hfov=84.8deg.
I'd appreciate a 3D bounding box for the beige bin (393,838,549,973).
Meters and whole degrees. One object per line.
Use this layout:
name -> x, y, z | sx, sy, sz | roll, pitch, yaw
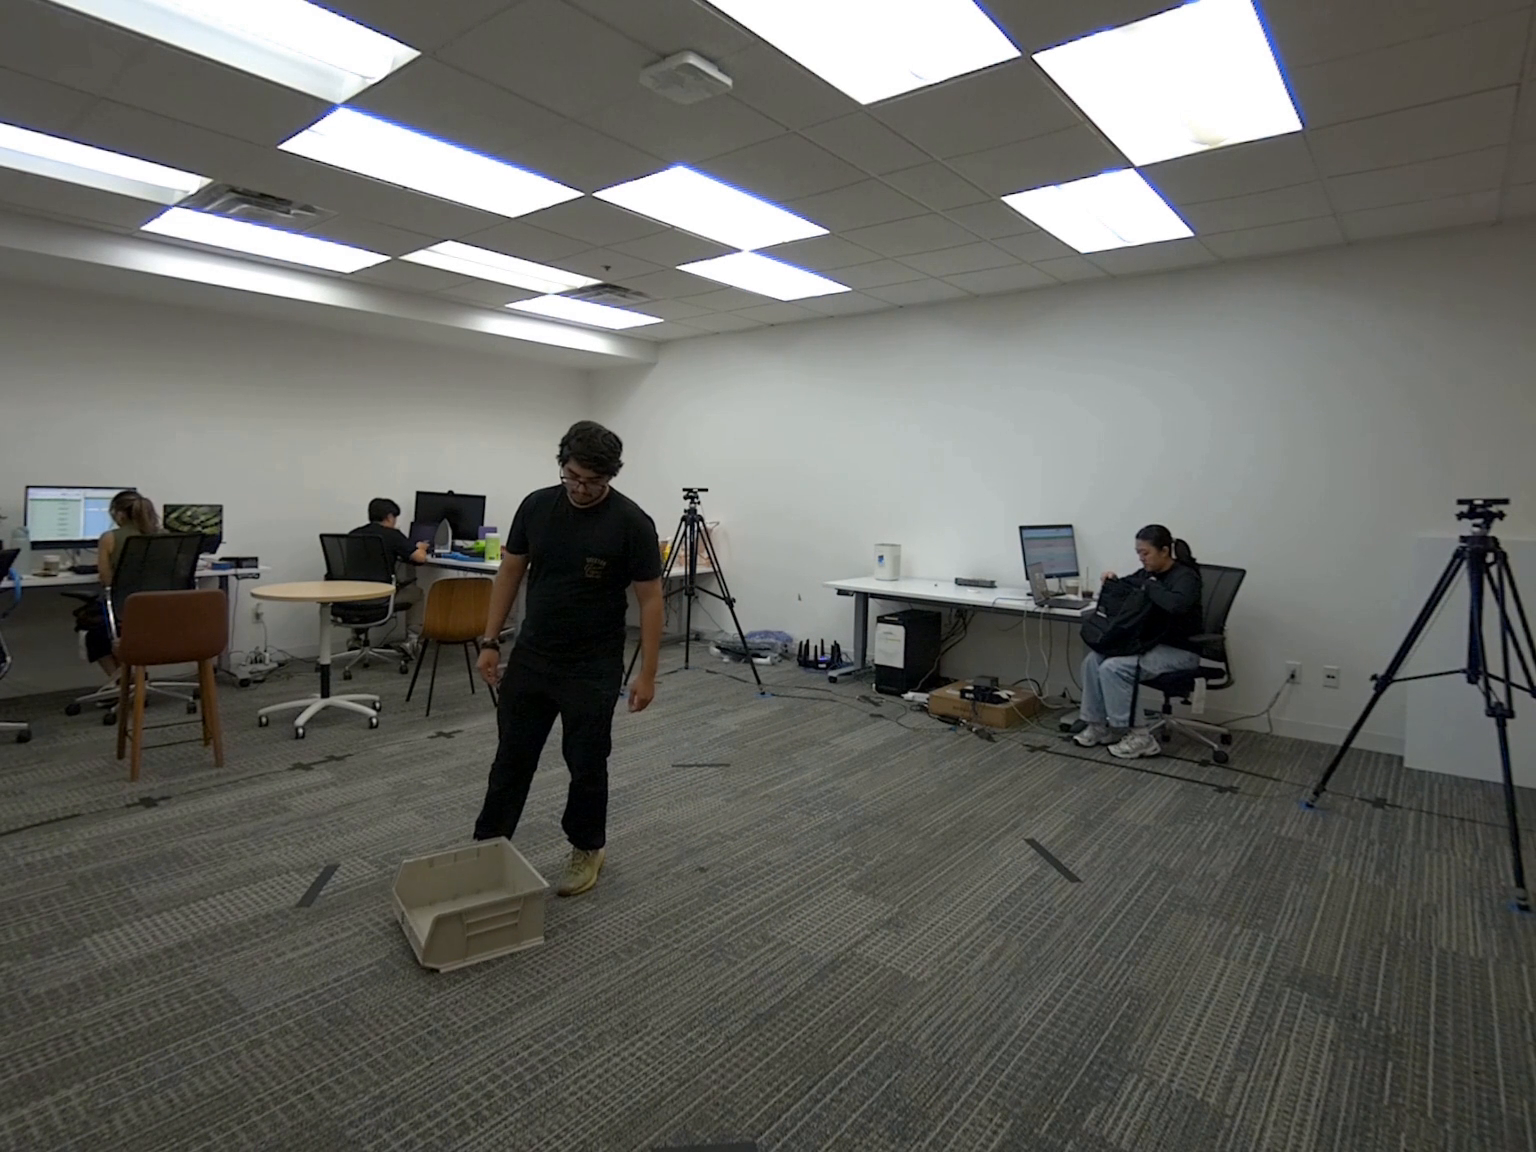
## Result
beige bin -> -0.951, 1.018, 2.644 | 0.366, 0.188, 0.436 | -1, 5, -36
